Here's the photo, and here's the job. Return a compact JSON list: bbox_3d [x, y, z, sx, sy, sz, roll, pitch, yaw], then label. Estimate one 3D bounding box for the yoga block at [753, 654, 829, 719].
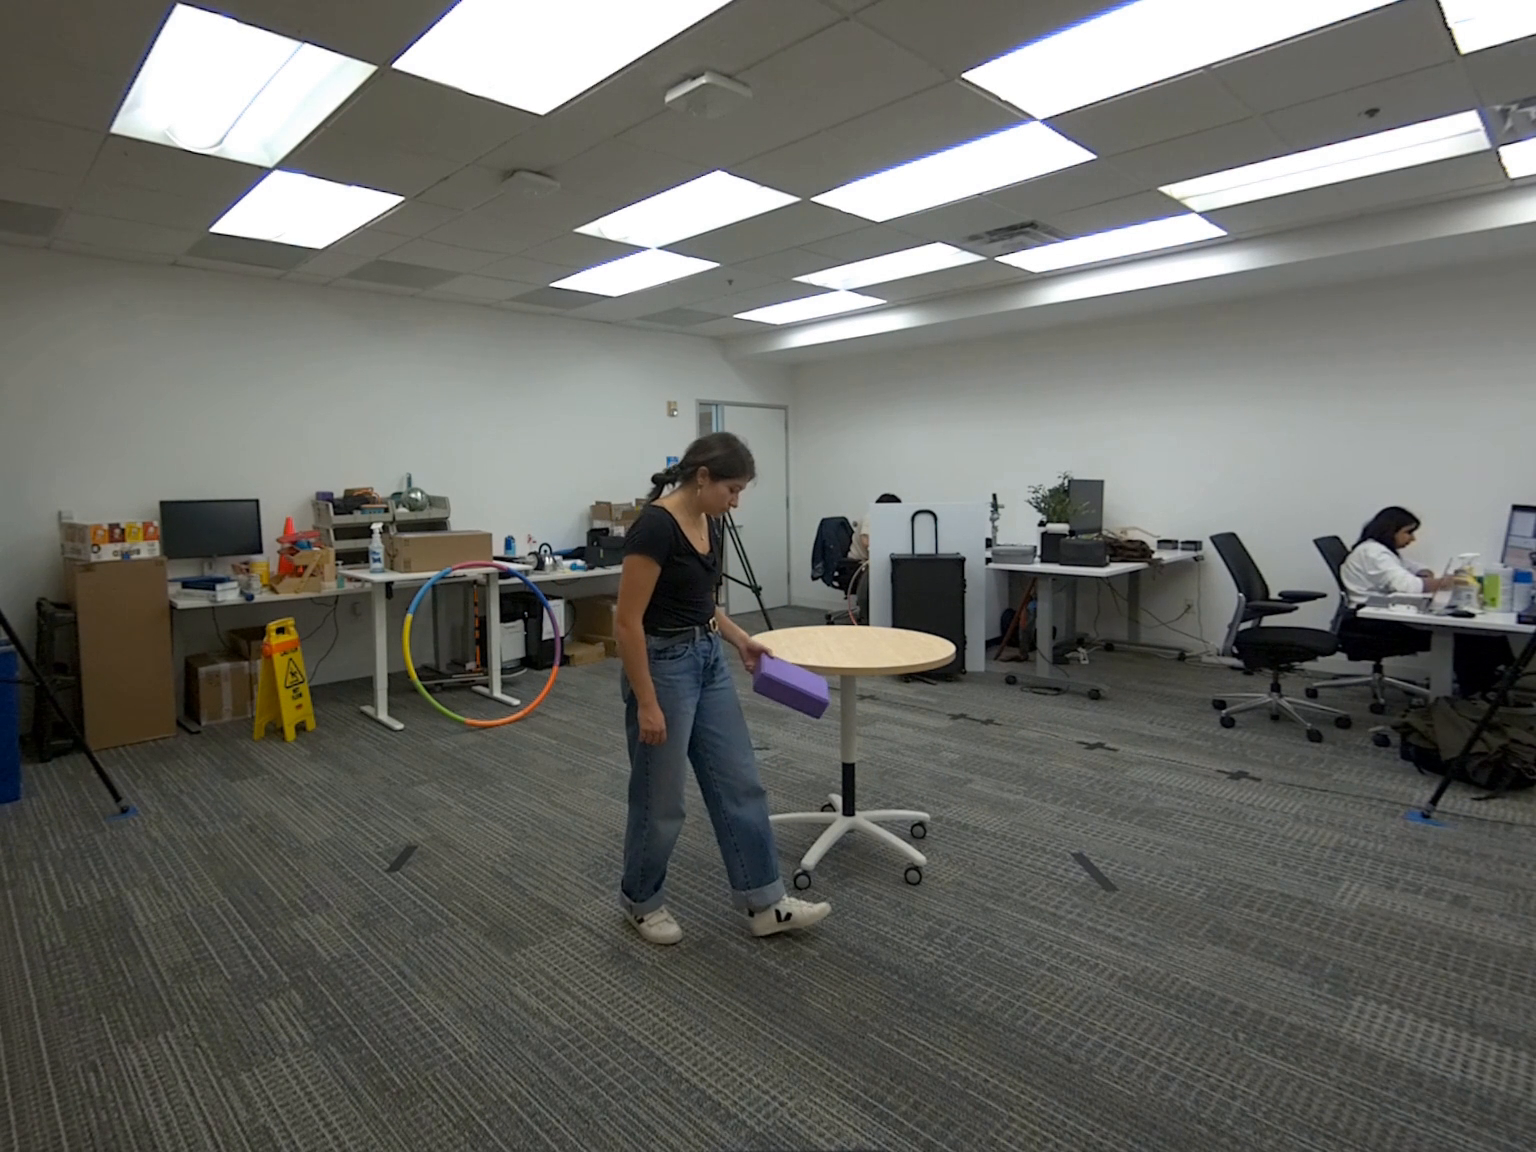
[{"bbox_3d":[0.060,0.335,2.637,0.228,0.076,0.151,24,18,-4],"label":"yoga block"}]
